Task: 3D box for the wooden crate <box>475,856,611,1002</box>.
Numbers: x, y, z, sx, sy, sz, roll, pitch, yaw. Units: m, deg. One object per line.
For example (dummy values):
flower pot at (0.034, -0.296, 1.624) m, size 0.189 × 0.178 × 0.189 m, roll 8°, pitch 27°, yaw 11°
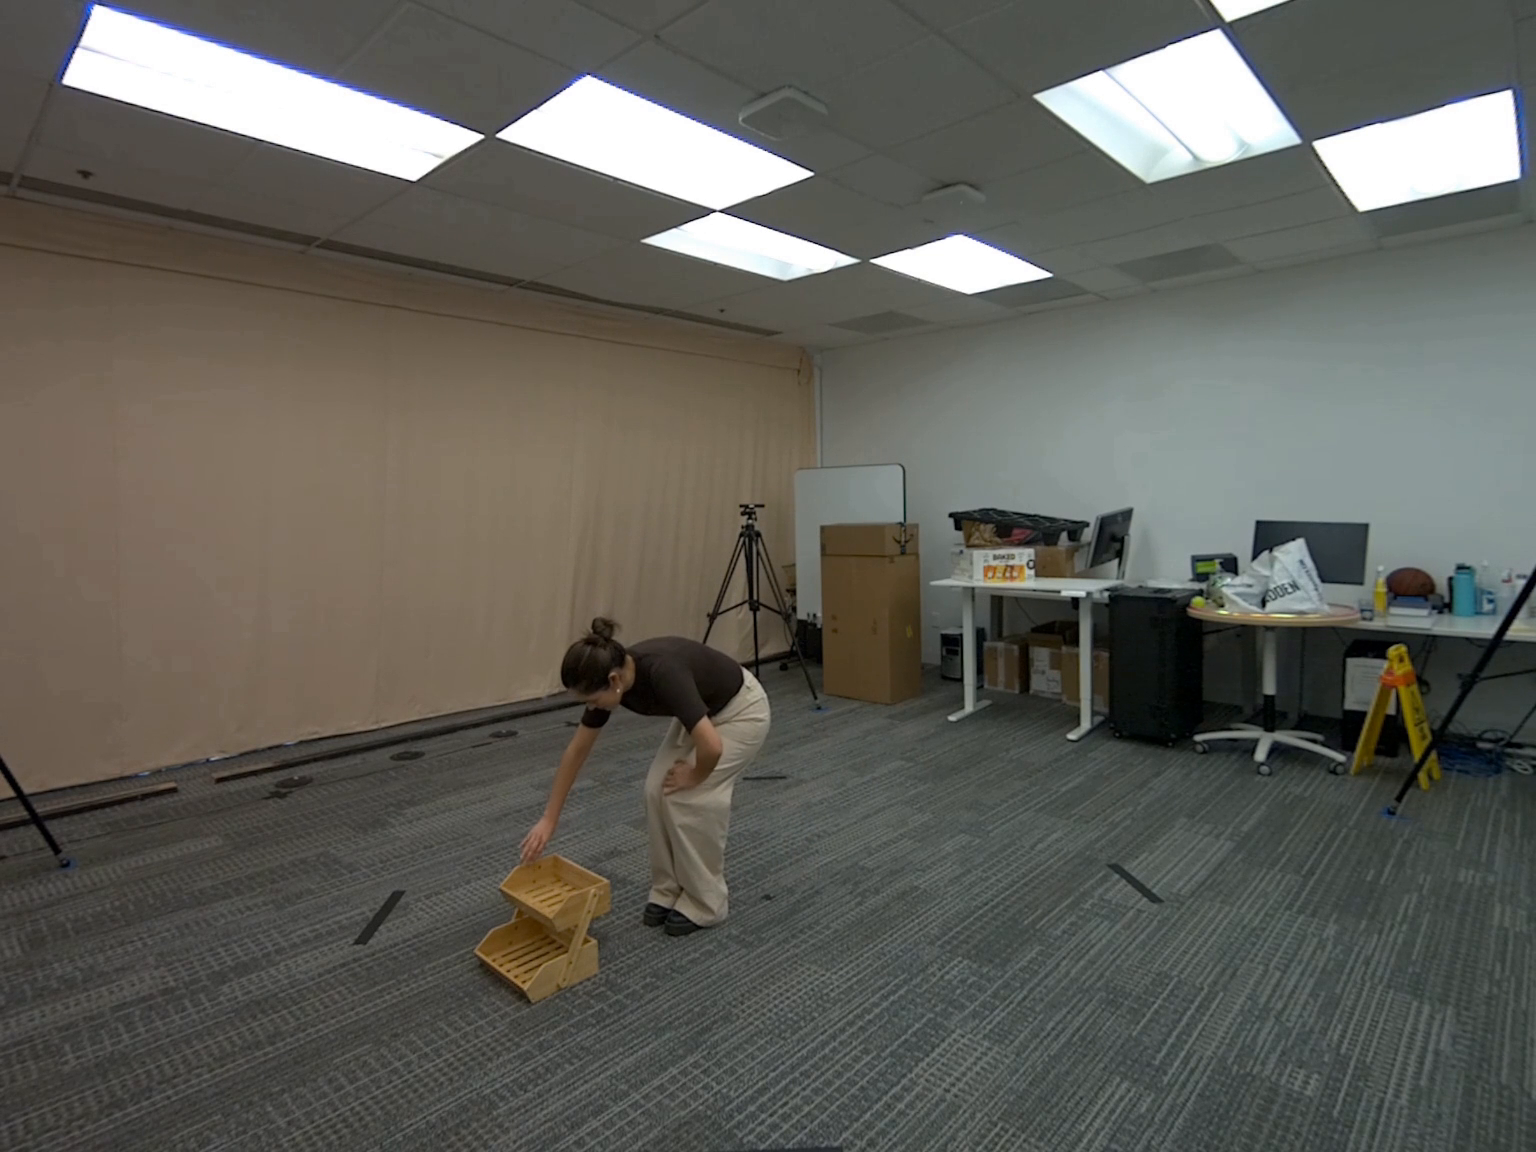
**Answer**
wooden crate at (-0.692, 1.061, 2.559) m, size 0.335 × 0.273 × 0.293 m, roll 2°, pitch 4°, yaw 44°
